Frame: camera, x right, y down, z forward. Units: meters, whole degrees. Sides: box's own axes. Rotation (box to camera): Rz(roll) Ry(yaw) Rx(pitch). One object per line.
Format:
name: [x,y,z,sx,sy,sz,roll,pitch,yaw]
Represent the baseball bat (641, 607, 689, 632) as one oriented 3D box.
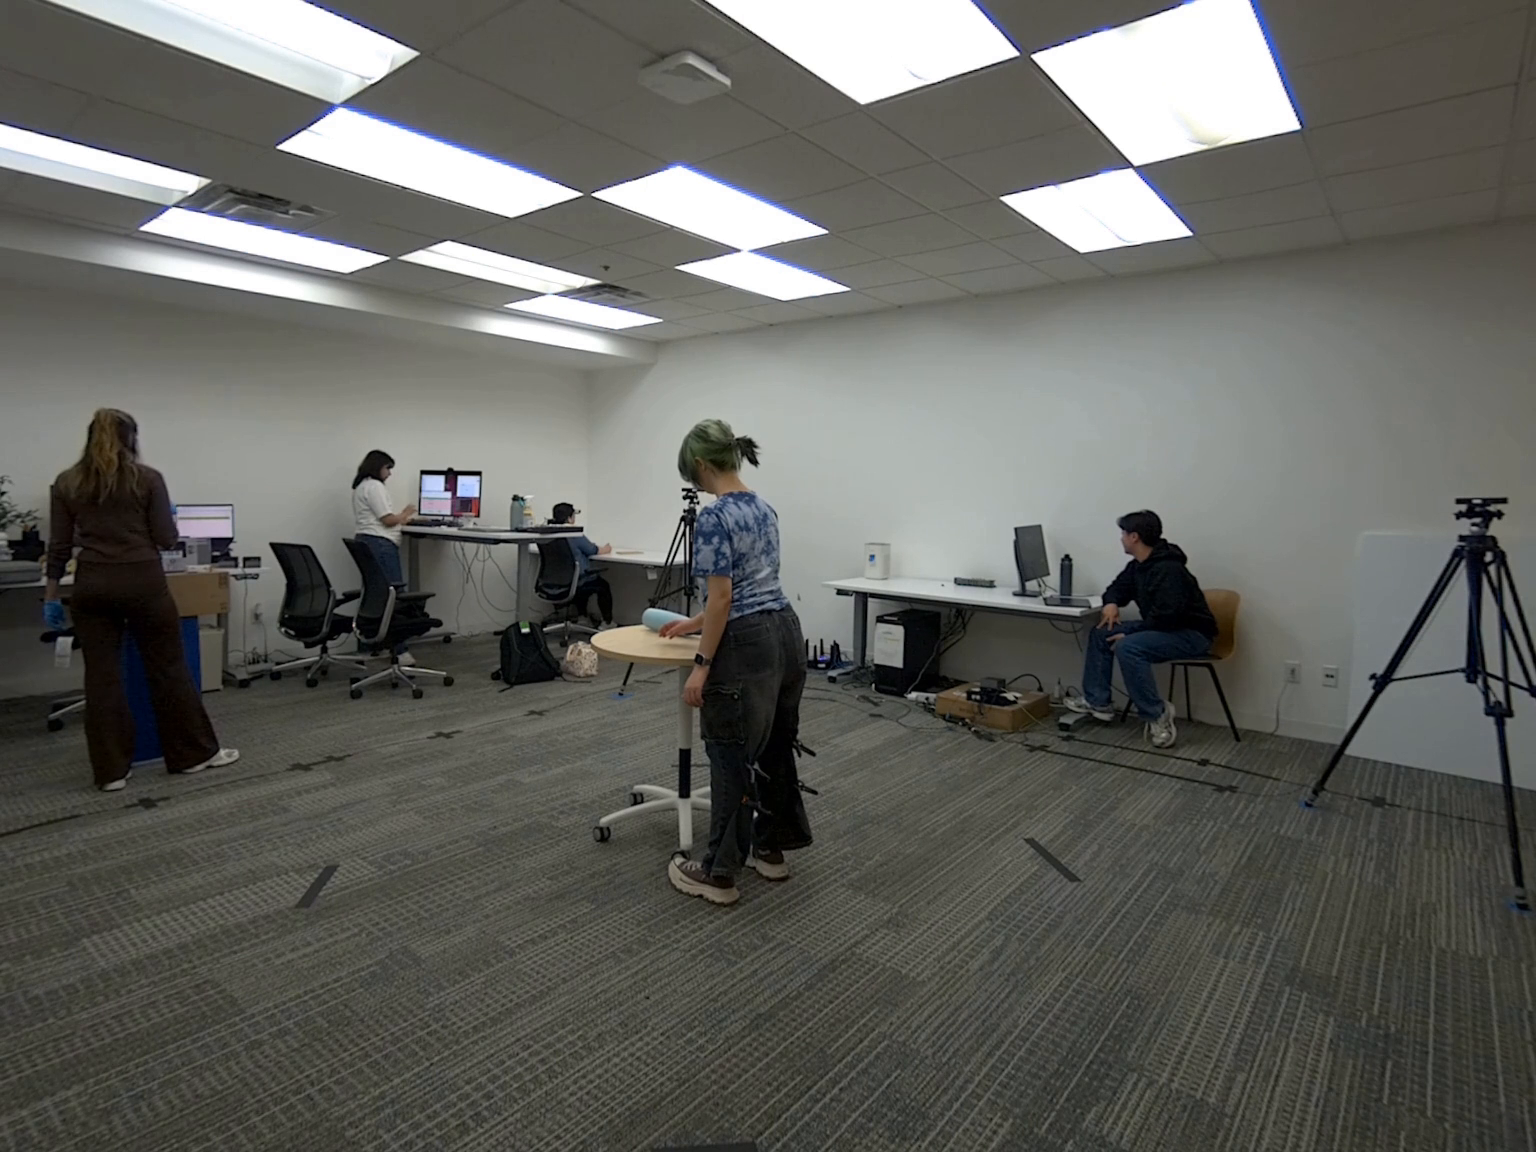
baseball bat: [-0.307,0.215,3.459,0.562,0.088,0.086,9,9,41]
